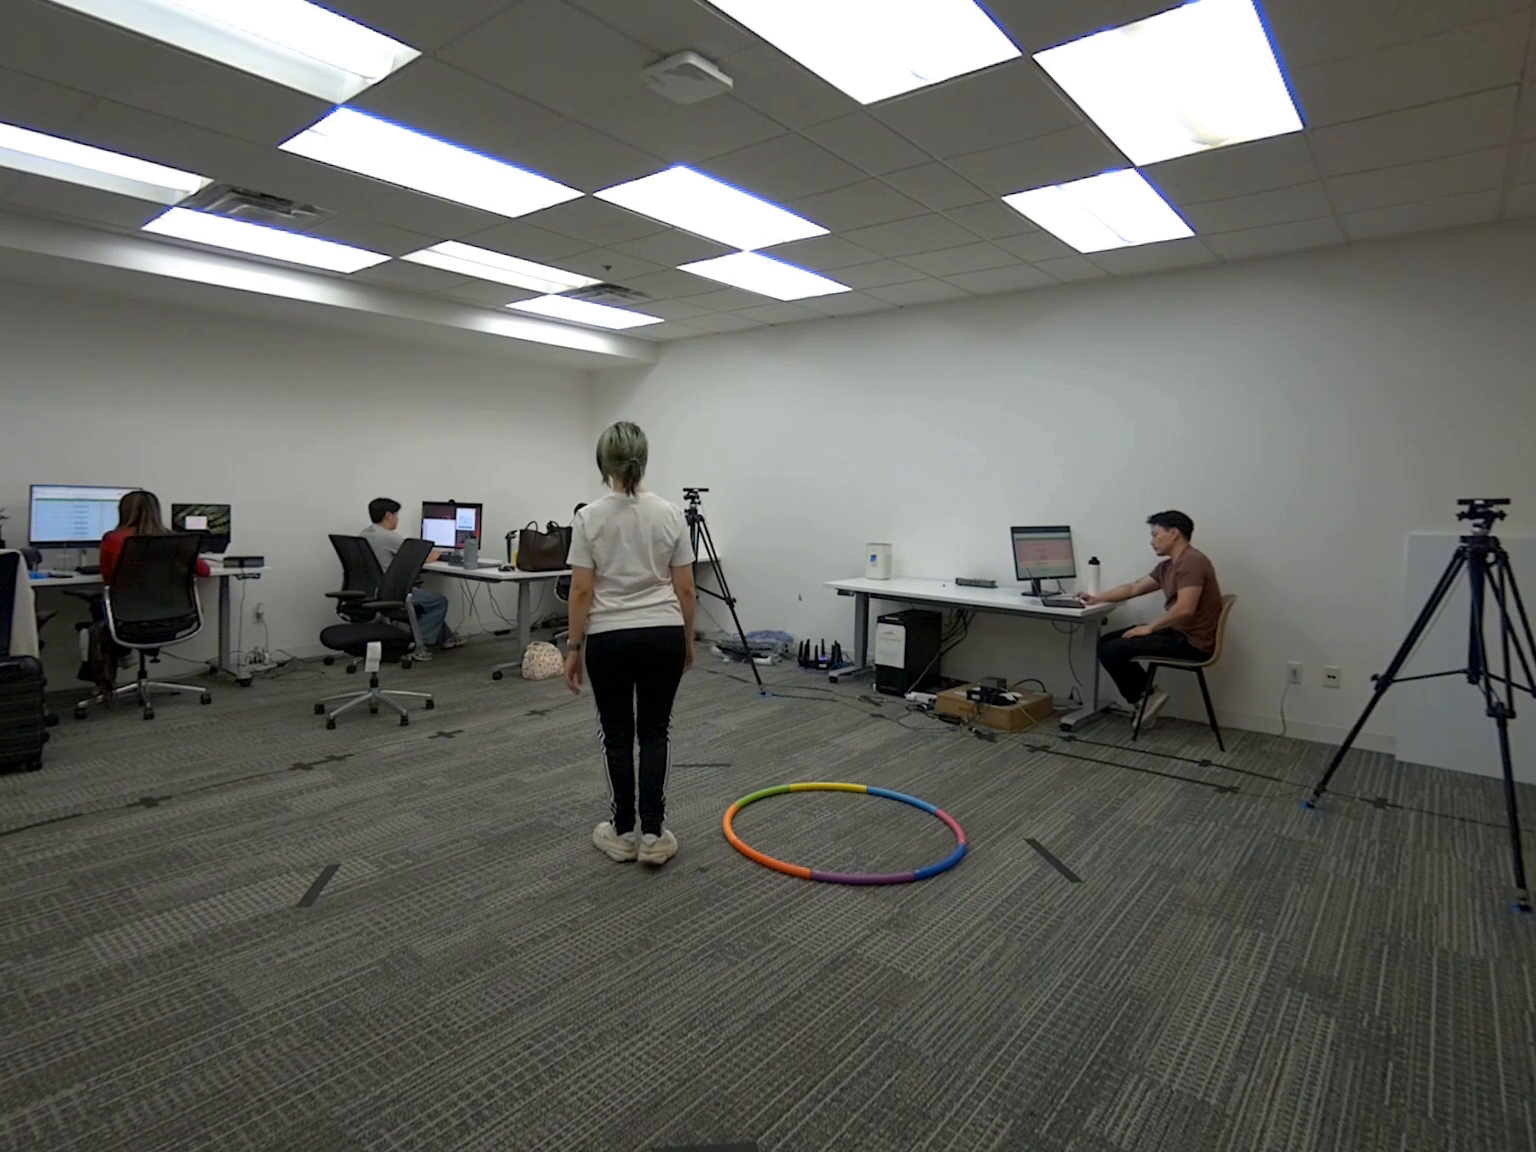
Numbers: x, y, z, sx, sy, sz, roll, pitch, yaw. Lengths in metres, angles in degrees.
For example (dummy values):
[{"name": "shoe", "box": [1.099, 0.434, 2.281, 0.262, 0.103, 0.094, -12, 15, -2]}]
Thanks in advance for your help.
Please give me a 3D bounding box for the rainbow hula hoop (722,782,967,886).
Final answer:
[{"name": "rainbow hula hoop", "box": [0.297, 1.018, 3.492, 0.984, 0.051, 0.991, 0, 6, -2]}]
